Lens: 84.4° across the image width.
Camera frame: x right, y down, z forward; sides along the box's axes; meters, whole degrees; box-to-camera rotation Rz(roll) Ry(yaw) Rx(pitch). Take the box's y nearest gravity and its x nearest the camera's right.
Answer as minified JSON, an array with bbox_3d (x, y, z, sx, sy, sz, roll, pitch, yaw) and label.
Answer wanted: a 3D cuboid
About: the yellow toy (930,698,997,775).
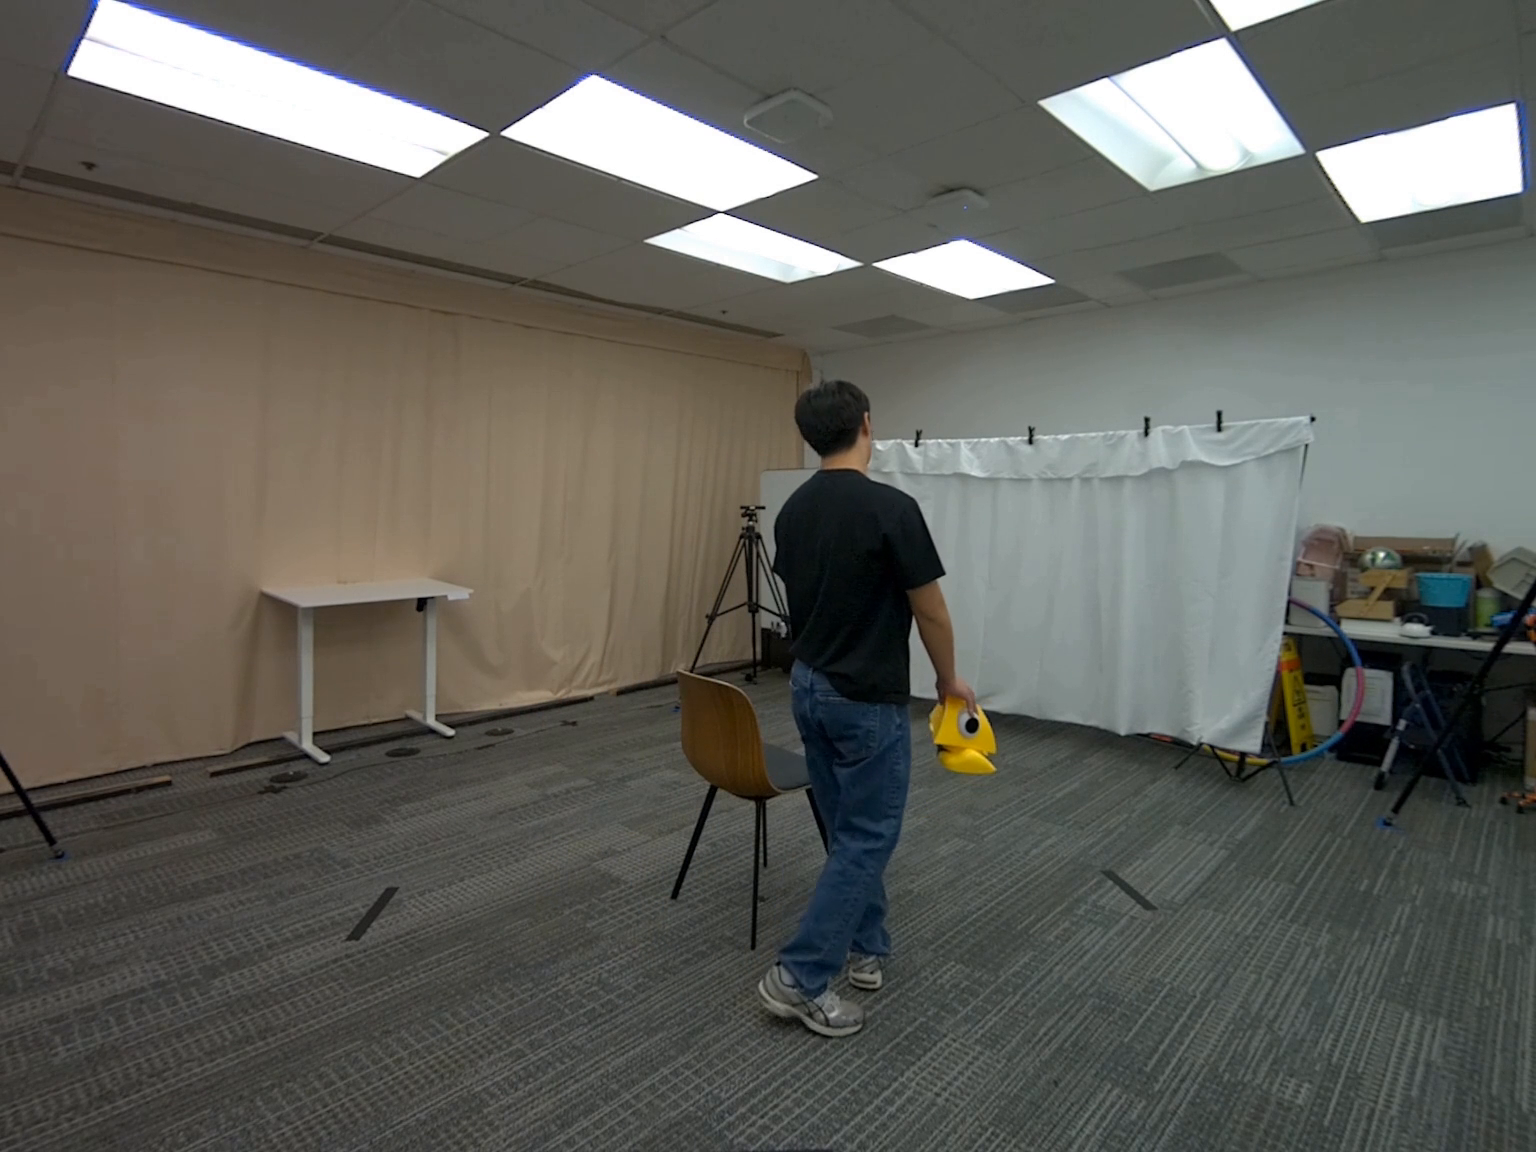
[{"bbox_3d":[0.585,0.424,2.451,0.195,0.229,0.204,4,12,9],"label":"yellow toy"}]
